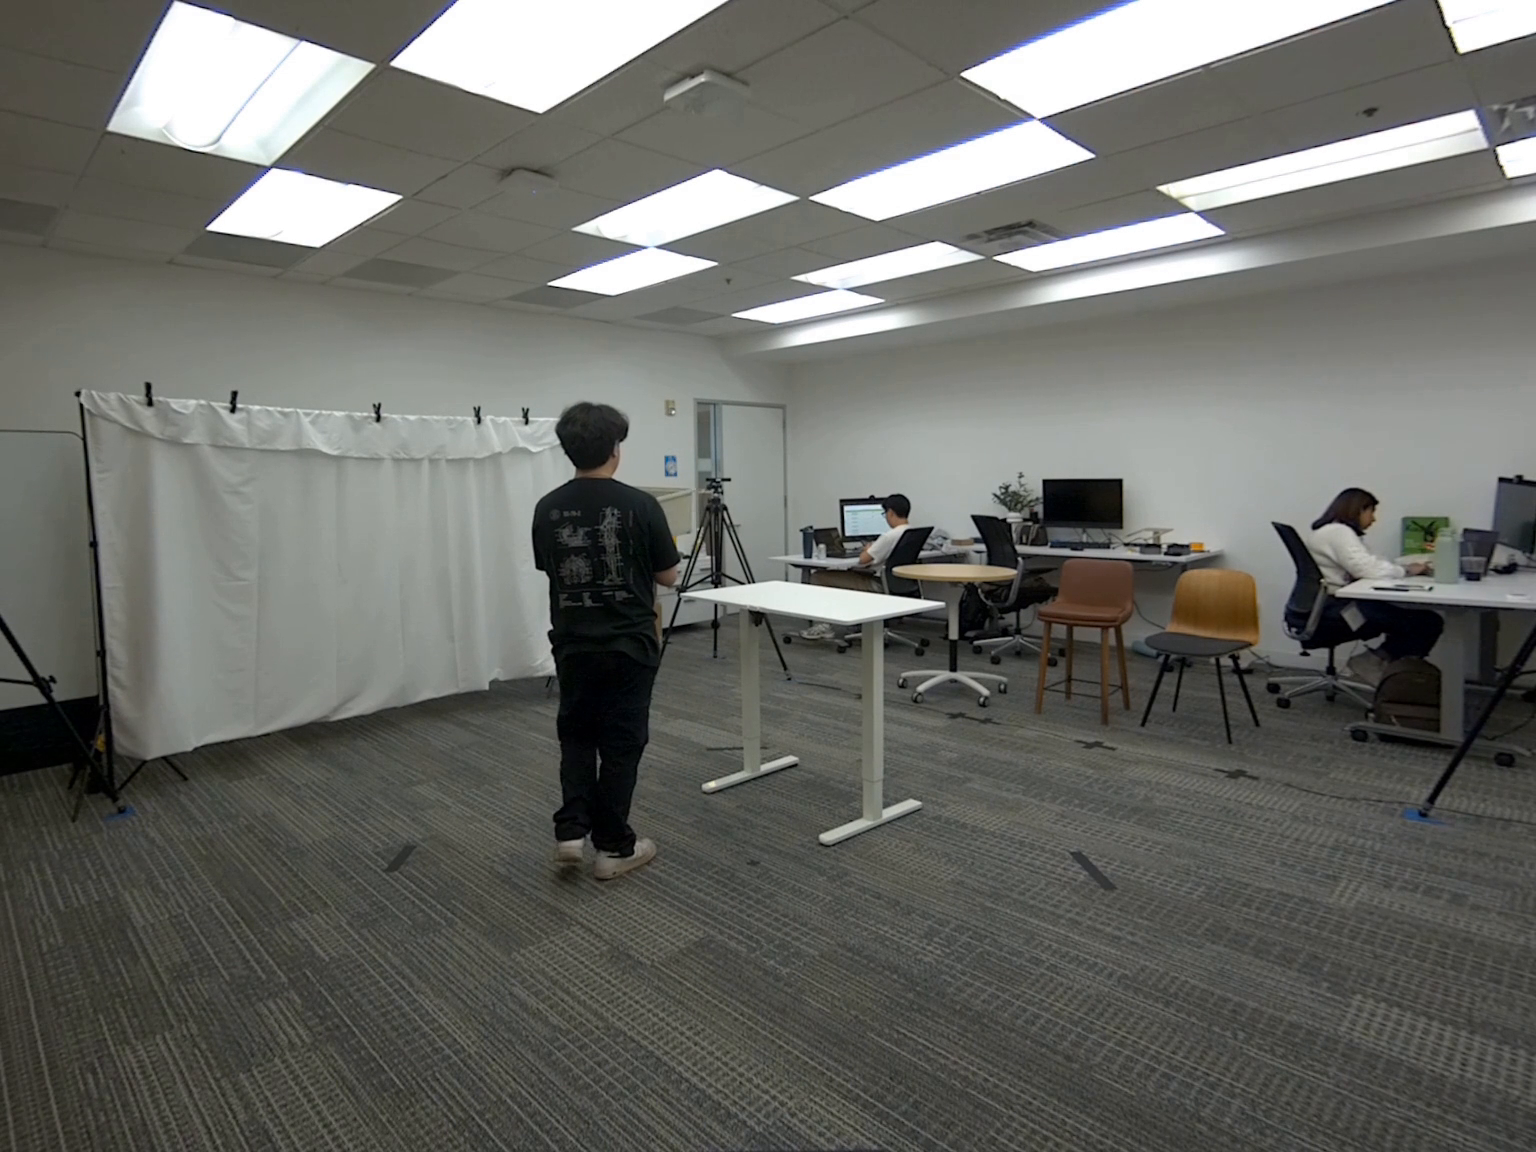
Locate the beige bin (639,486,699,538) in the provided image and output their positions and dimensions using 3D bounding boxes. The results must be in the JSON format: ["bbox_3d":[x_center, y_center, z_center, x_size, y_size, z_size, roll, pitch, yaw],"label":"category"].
[{"bbox_3d":[-0.541,-0.231,3.319,0.385,0.187,0.417,4,11,20],"label":"beige bin"}]
